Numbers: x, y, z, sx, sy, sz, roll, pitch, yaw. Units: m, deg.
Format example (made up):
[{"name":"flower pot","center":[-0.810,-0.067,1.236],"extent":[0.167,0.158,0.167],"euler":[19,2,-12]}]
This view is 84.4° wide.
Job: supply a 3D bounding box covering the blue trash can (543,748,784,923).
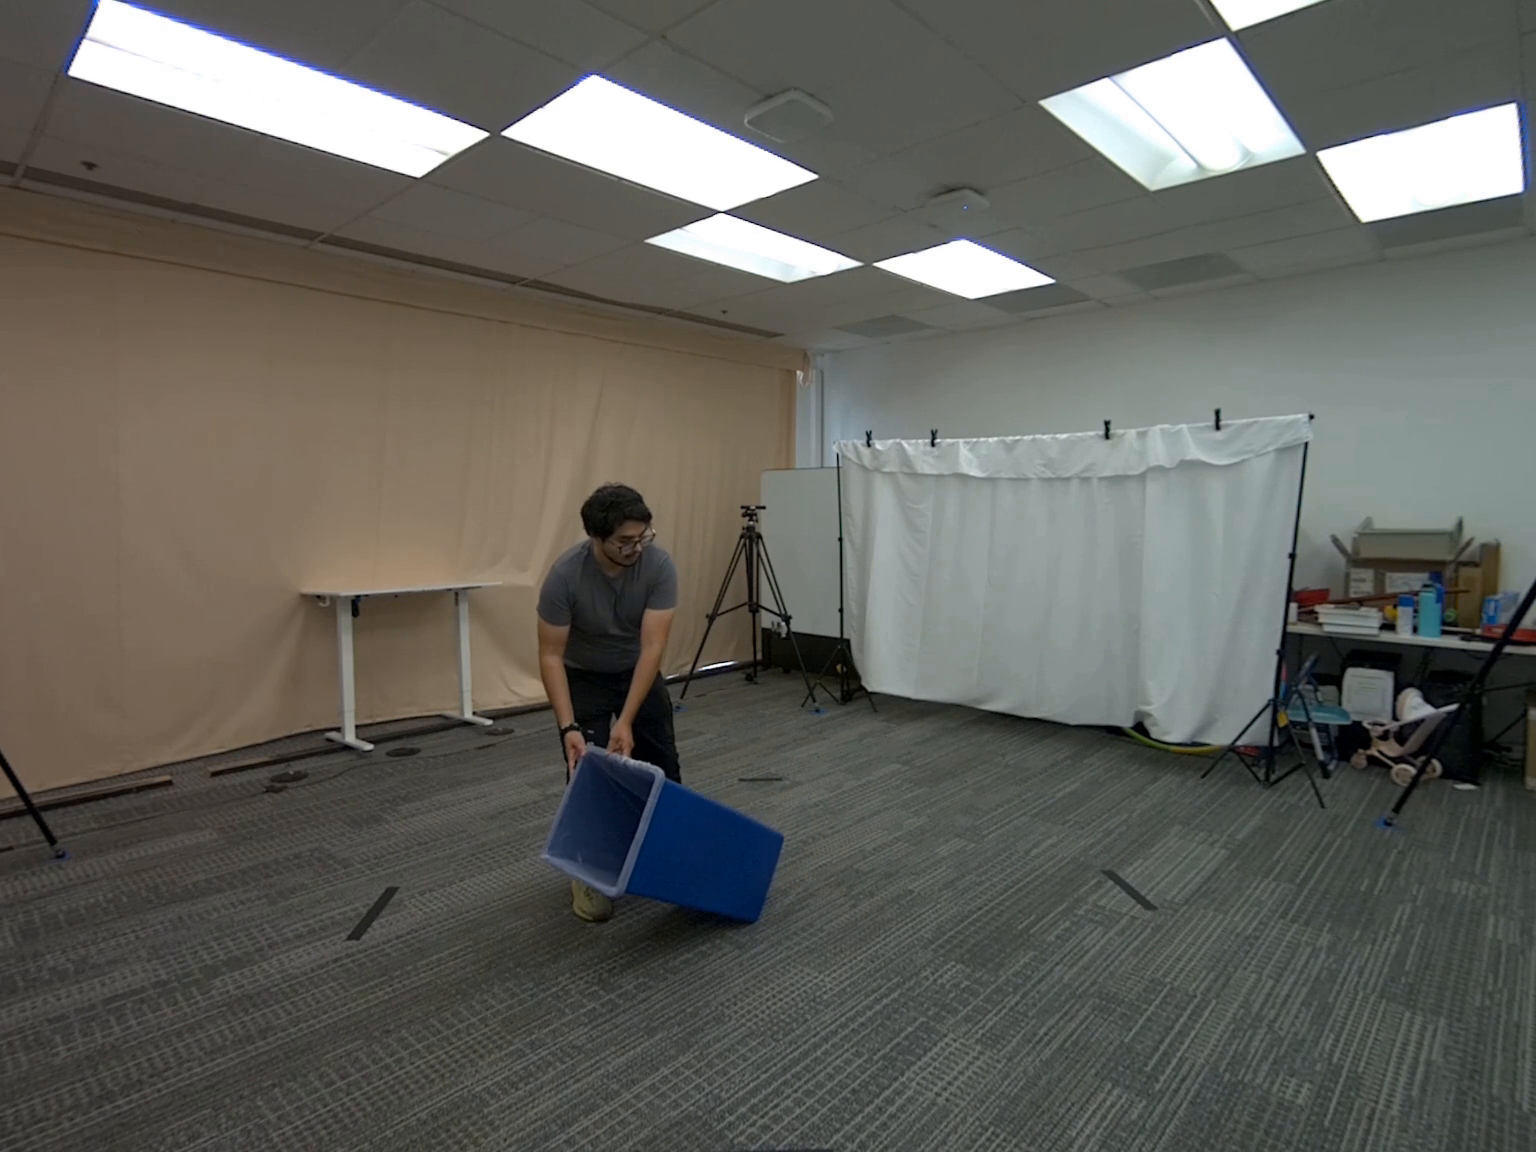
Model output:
[{"name":"blue trash can","center":[-0.290,0.863,2.714],"extent":[0.386,0.379,0.688],"euler":[3,-24,42]}]
